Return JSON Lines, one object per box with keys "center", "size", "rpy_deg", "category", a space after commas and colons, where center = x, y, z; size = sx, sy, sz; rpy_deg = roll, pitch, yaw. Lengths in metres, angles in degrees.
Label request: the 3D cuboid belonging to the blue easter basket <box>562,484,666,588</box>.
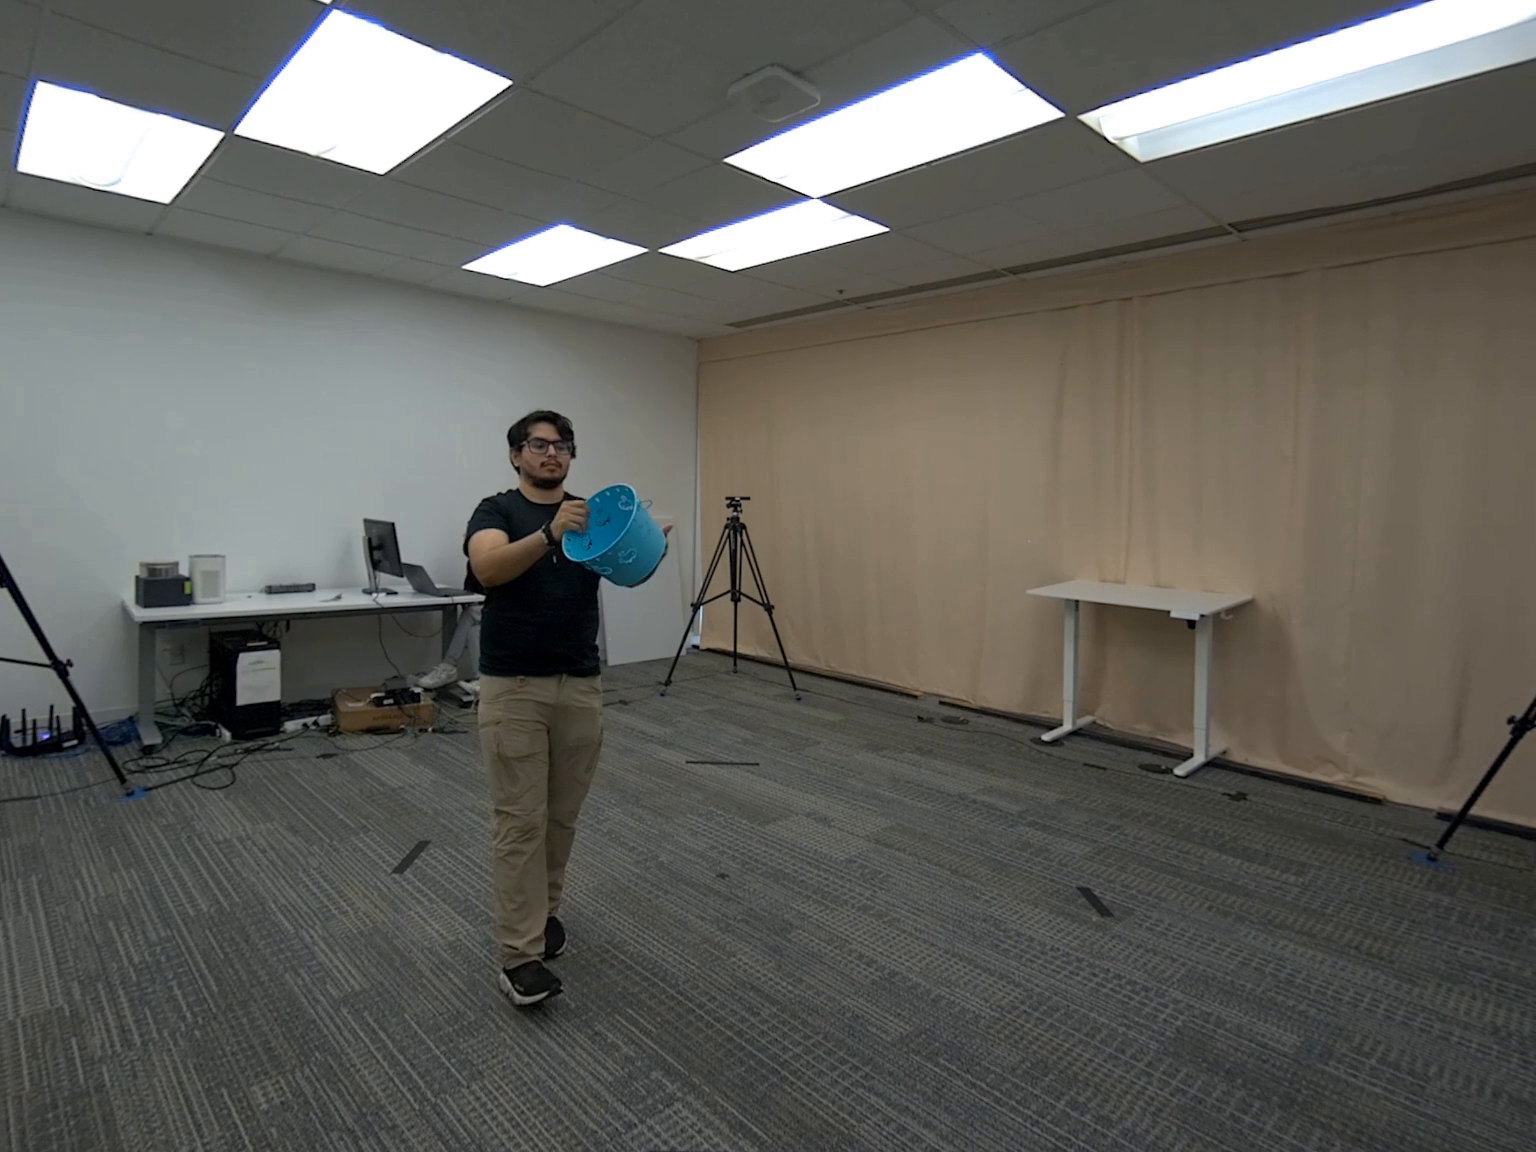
{"center": [-0.380, -0.094, 2.080], "size": [0.250, 0.245, 0.151], "rpy_deg": [5, -31, 40], "category": "blue easter basket"}
